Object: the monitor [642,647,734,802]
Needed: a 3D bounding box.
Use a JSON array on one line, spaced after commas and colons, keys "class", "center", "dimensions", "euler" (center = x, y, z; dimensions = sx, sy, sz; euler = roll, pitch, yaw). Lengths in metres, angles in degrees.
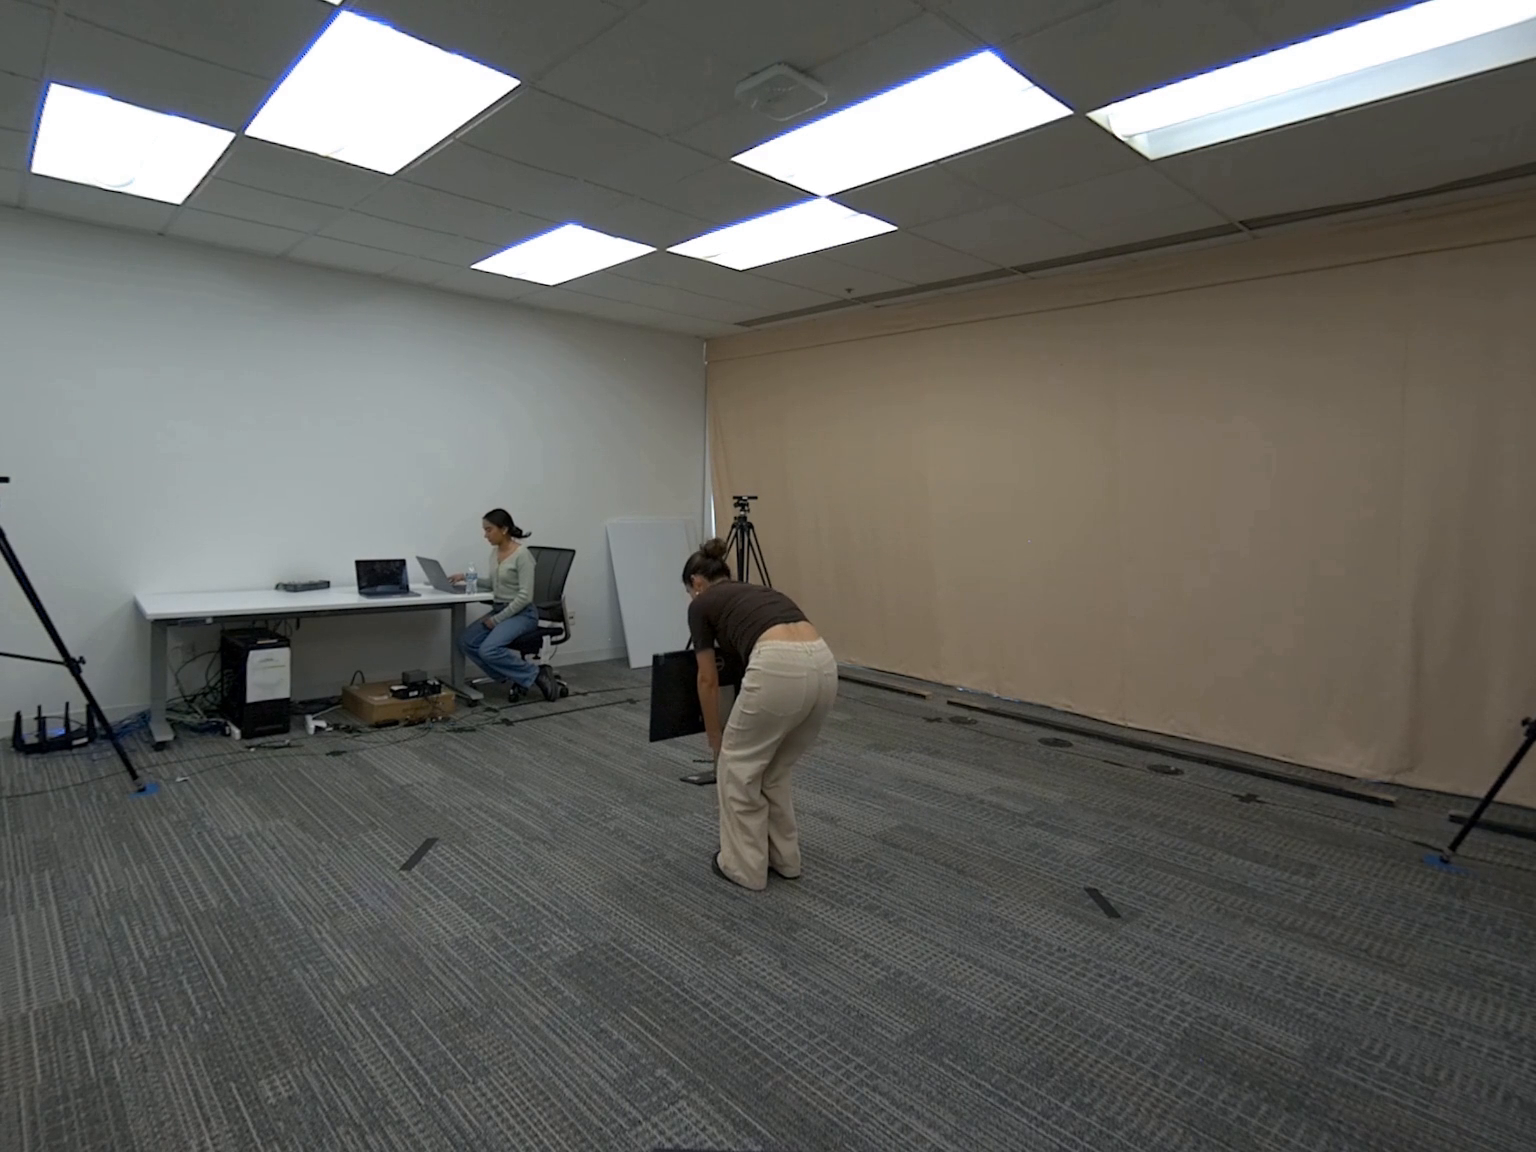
[{"class": "monitor", "center": [-0.197, 0.541, 3.305], "dimensions": [0.527, 0.523, 0.191], "euler": [-4, 0, -37]}]
